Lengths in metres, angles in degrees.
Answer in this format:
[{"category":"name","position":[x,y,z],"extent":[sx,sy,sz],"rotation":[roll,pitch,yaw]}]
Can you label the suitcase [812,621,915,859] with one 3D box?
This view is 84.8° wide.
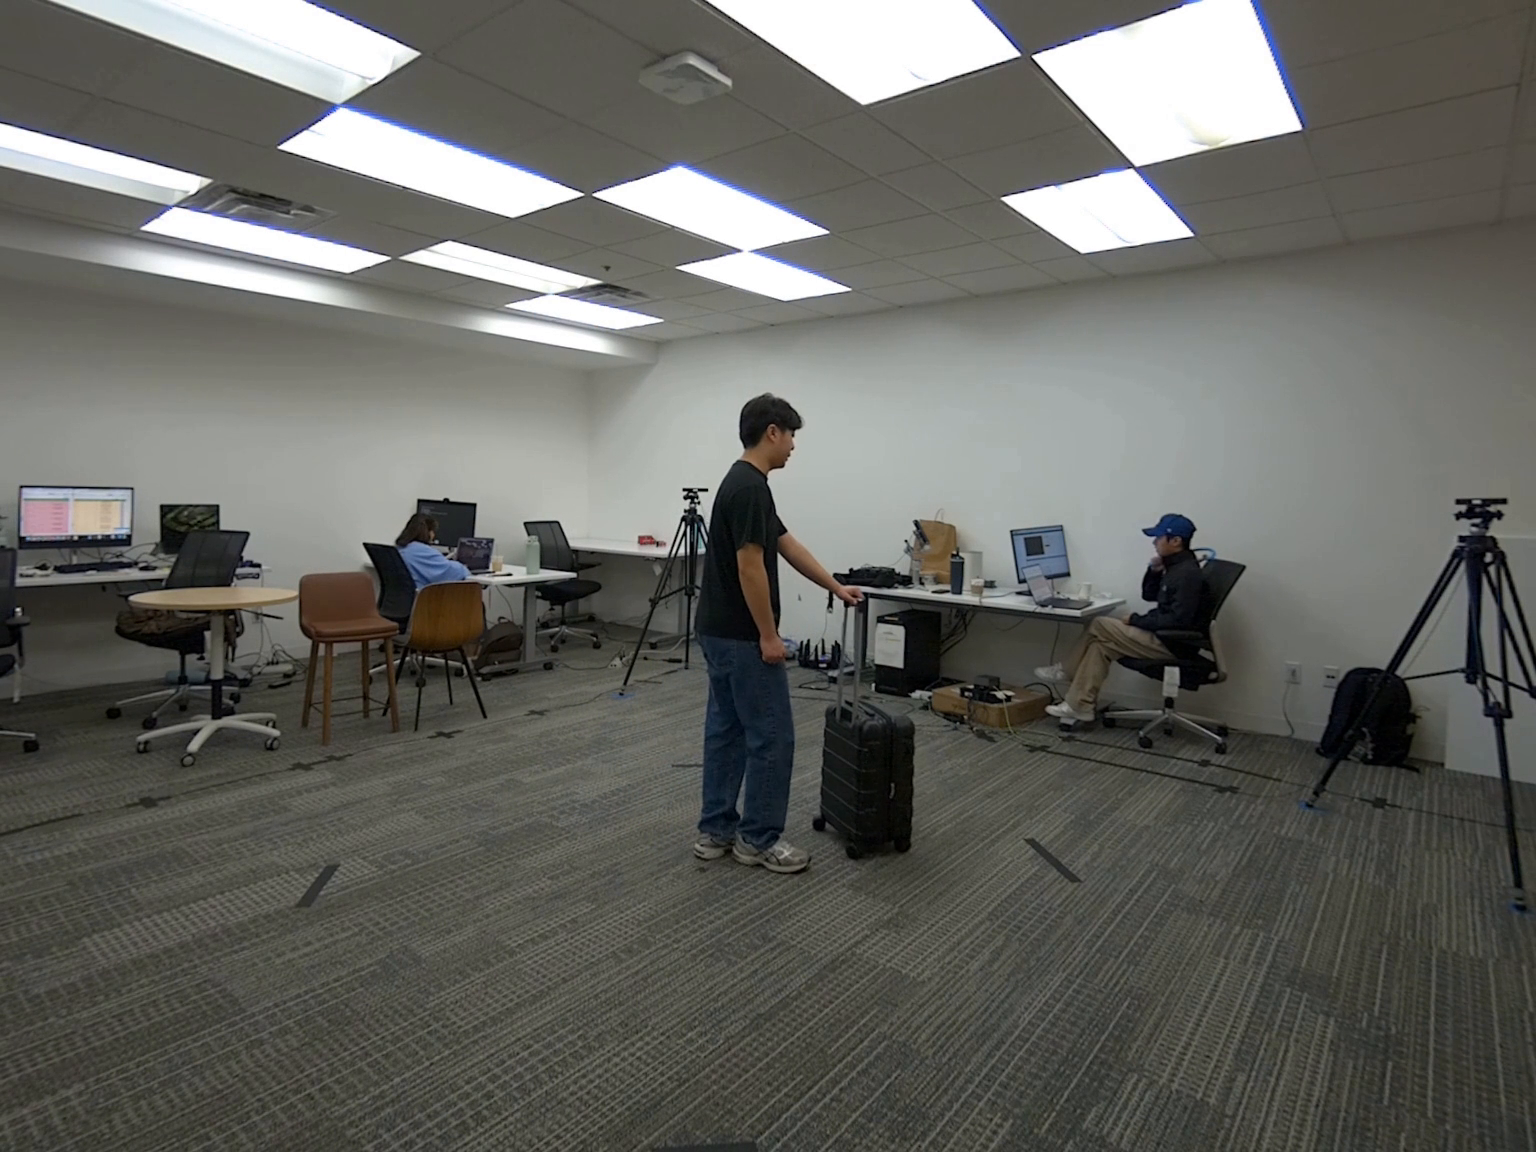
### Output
[{"category":"suitcase","position":[0.398,0.582,3.381],"extent":[0.252,0.976,0.393],"rotation":[4,3,-21]}]
